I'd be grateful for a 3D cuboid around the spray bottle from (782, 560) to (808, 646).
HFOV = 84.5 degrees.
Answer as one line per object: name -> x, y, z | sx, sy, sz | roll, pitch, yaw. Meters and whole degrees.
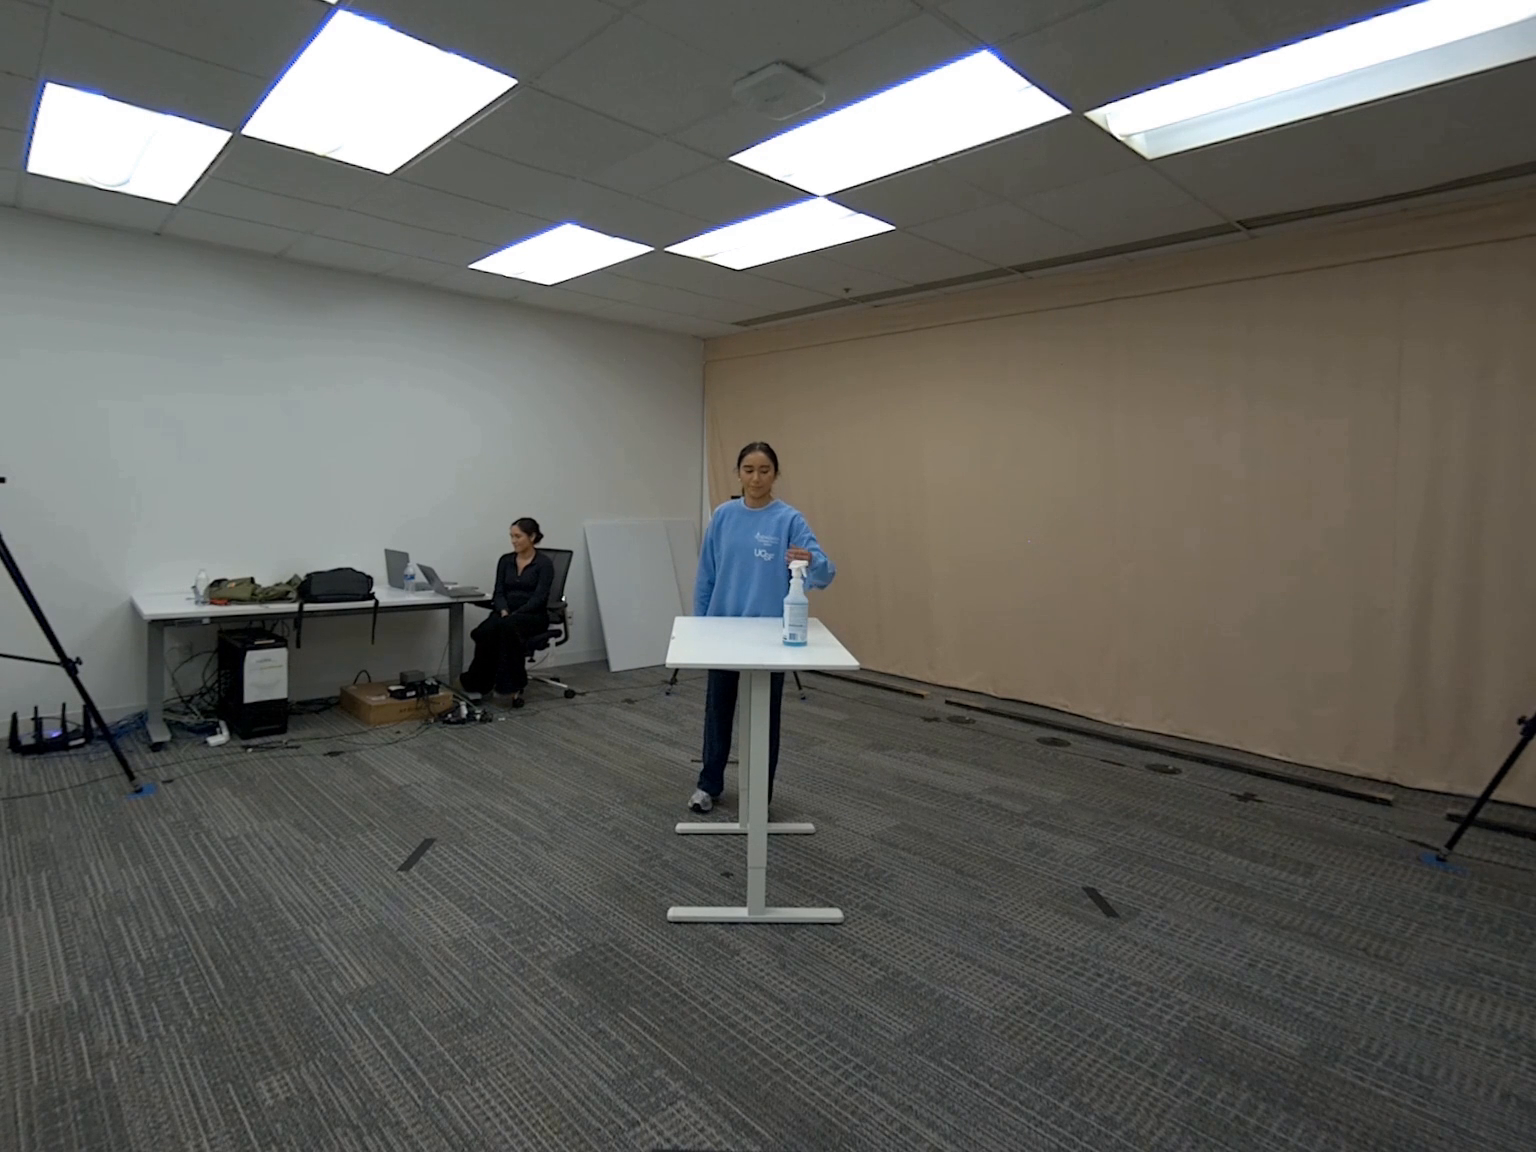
spray bottle -> 0.091, 0.097, 2.933 | 0.086, 0.296, 0.091 | -1, 4, -12
